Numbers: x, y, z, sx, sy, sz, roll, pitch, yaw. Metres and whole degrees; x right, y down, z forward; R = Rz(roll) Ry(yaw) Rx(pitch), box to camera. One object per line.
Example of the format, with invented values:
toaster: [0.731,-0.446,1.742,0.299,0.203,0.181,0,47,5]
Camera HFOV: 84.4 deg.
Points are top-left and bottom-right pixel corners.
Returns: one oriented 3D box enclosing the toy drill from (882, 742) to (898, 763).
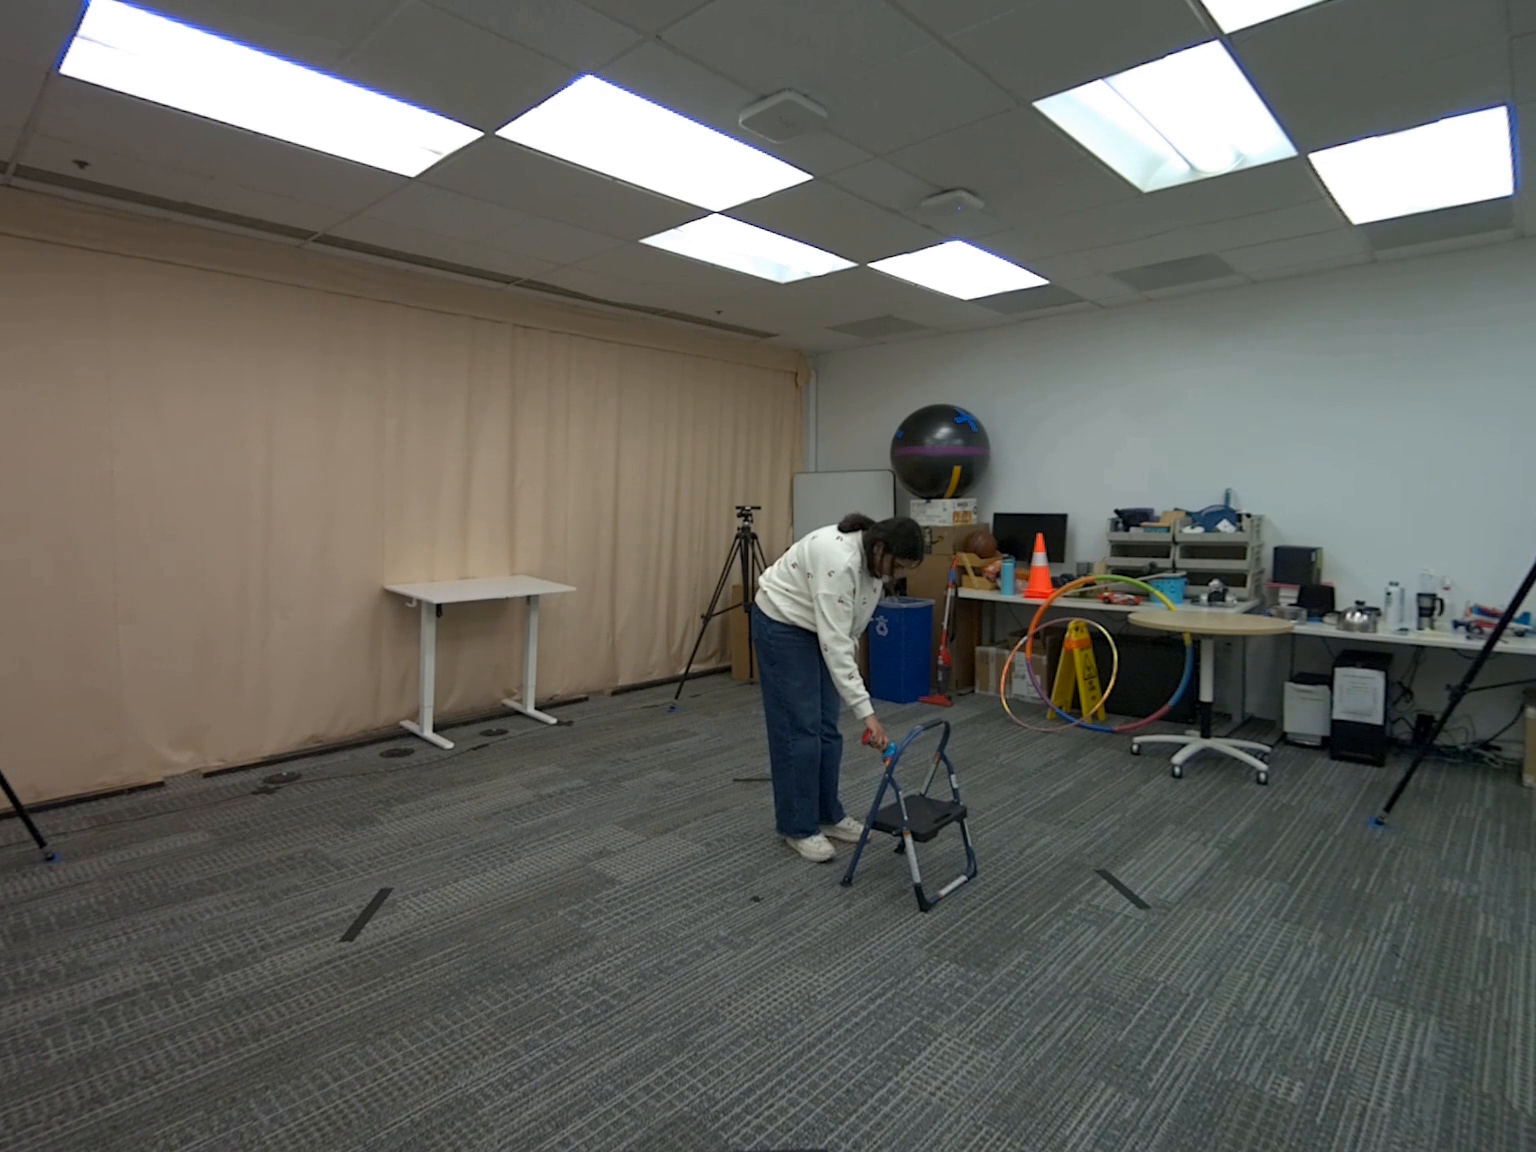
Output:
toy drill: [0.421,0.634,3.036,0.145,0.061,0.170,35,29,-8]
